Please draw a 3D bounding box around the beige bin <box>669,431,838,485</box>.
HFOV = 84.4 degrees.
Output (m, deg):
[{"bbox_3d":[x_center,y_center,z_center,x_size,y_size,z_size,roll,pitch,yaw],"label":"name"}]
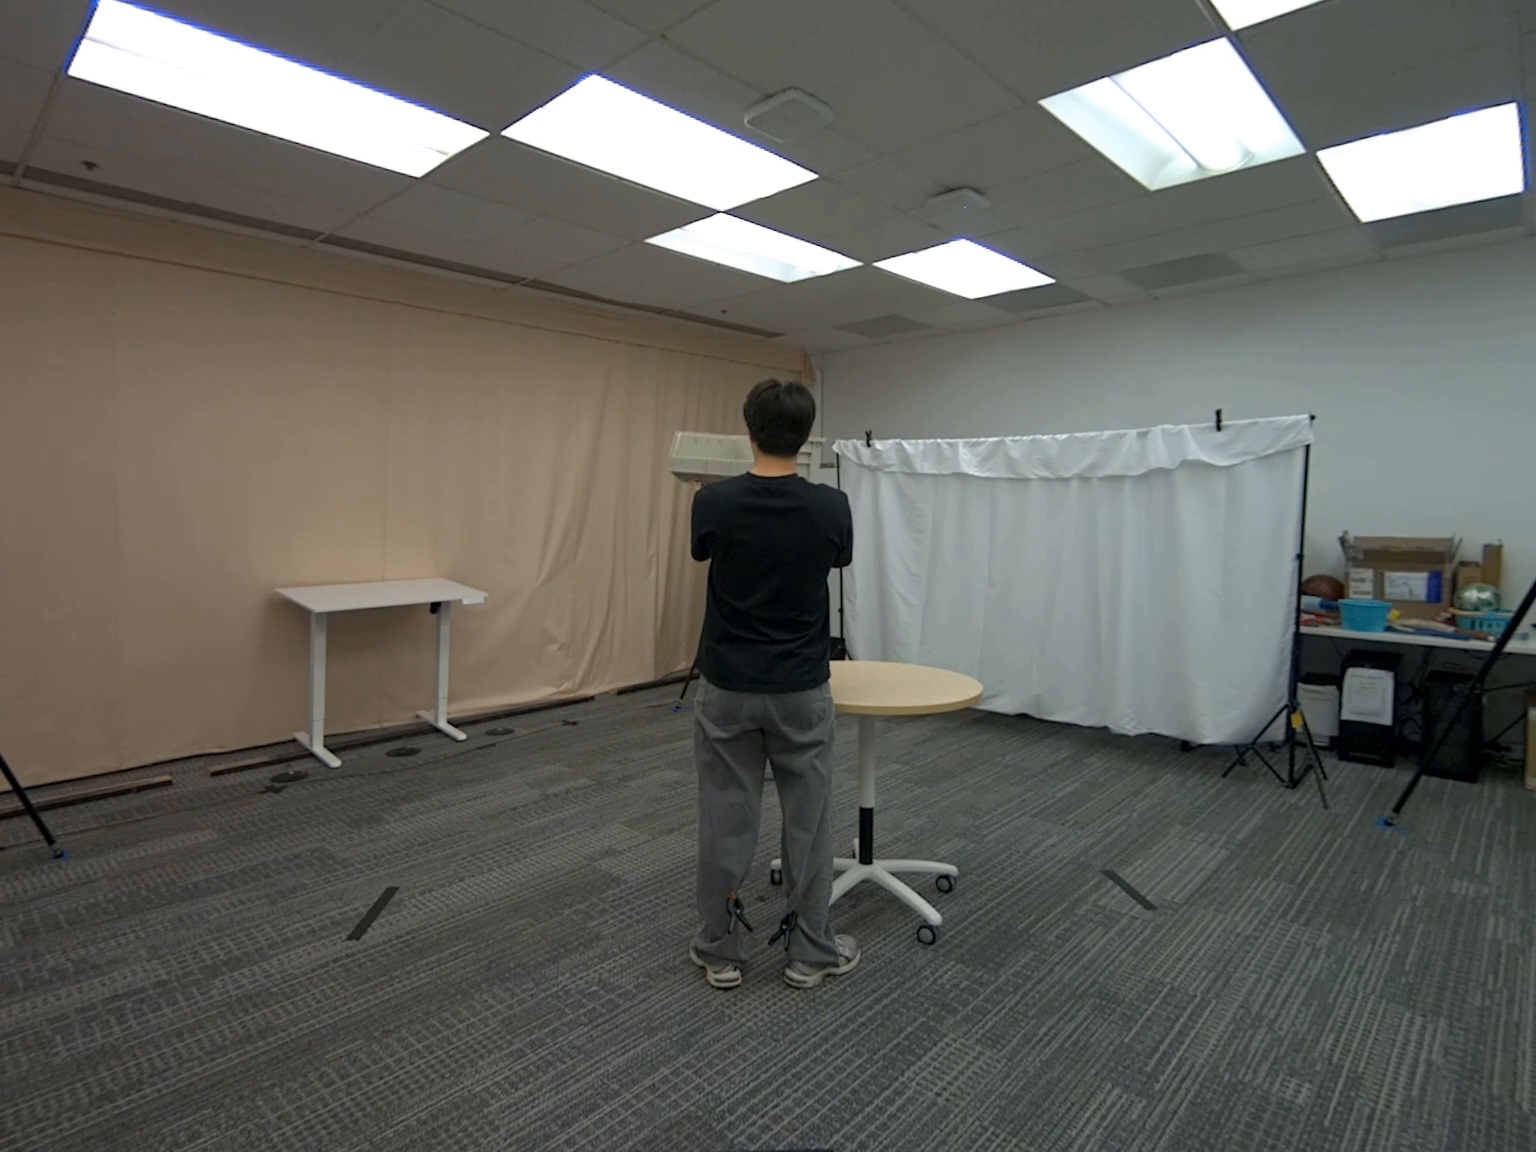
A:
[{"bbox_3d":[-0.066,-0.405,2.977,0.436,0.188,0.366,7,8,34],"label":"beige bin"}]
